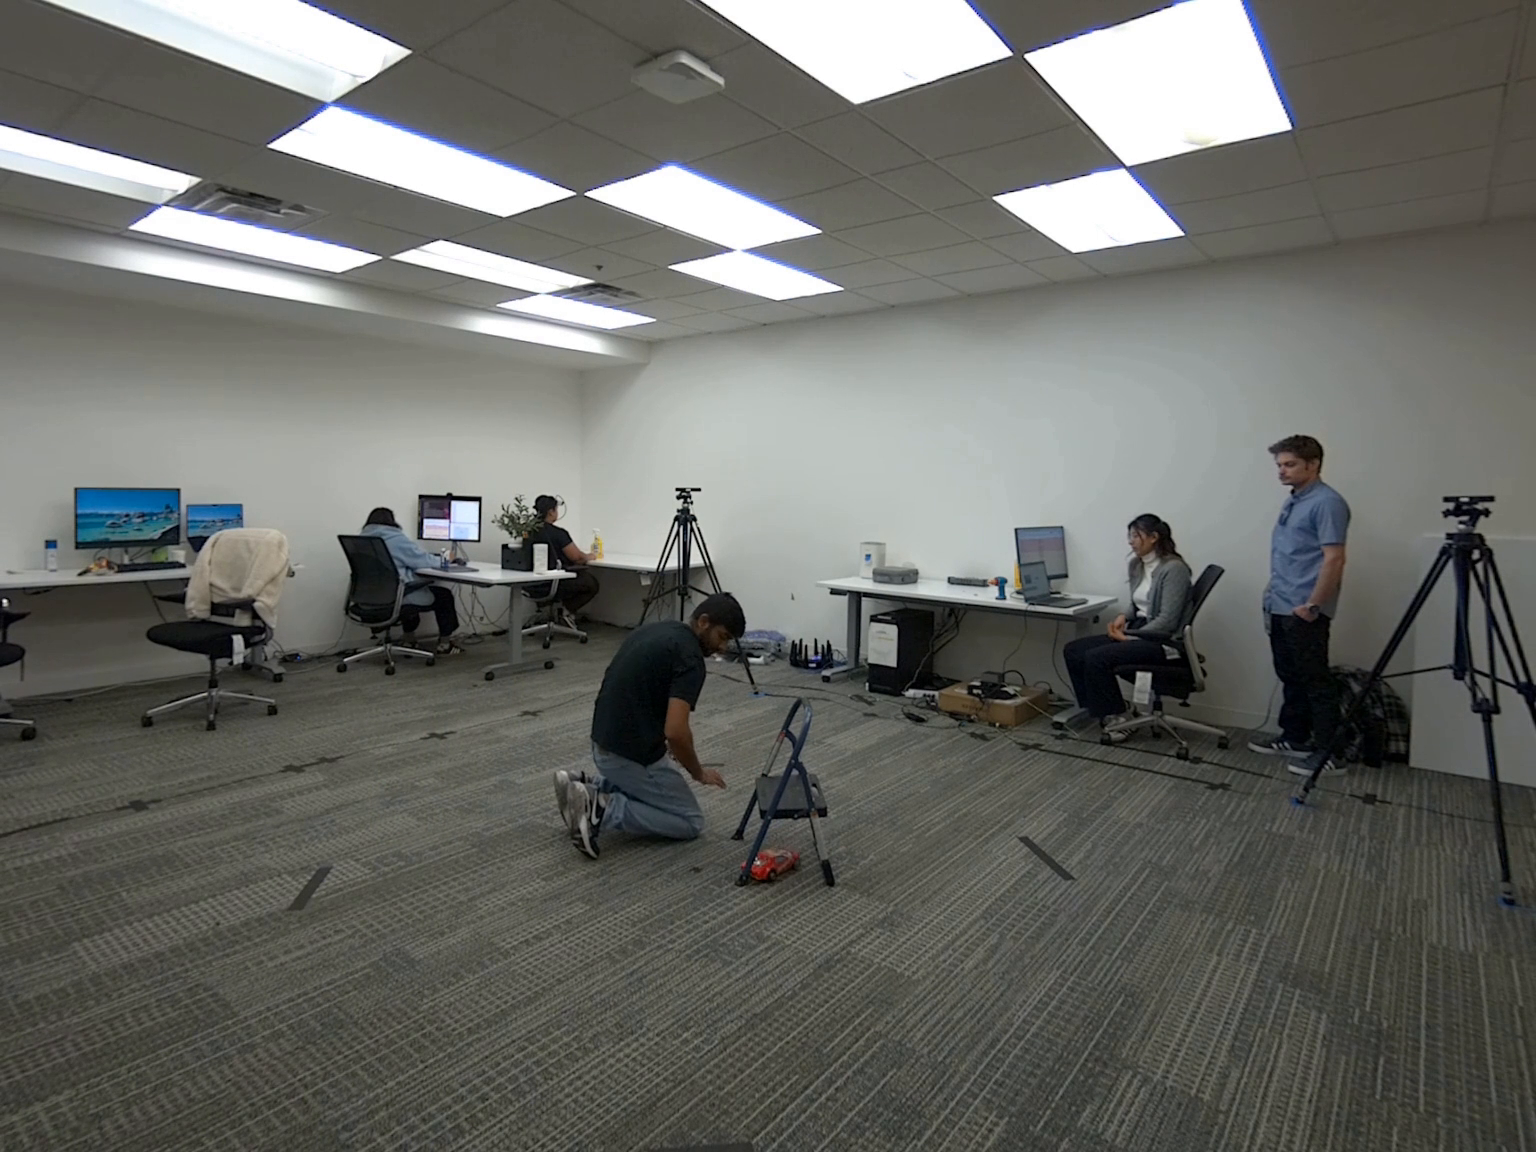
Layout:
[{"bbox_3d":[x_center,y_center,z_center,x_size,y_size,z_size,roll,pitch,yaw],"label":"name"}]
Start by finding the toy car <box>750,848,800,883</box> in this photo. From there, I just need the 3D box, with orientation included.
[{"bbox_3d":[0.002,1.041,3.108,0.135,0.083,0.245,5,-6,43],"label":"toy car"}]
